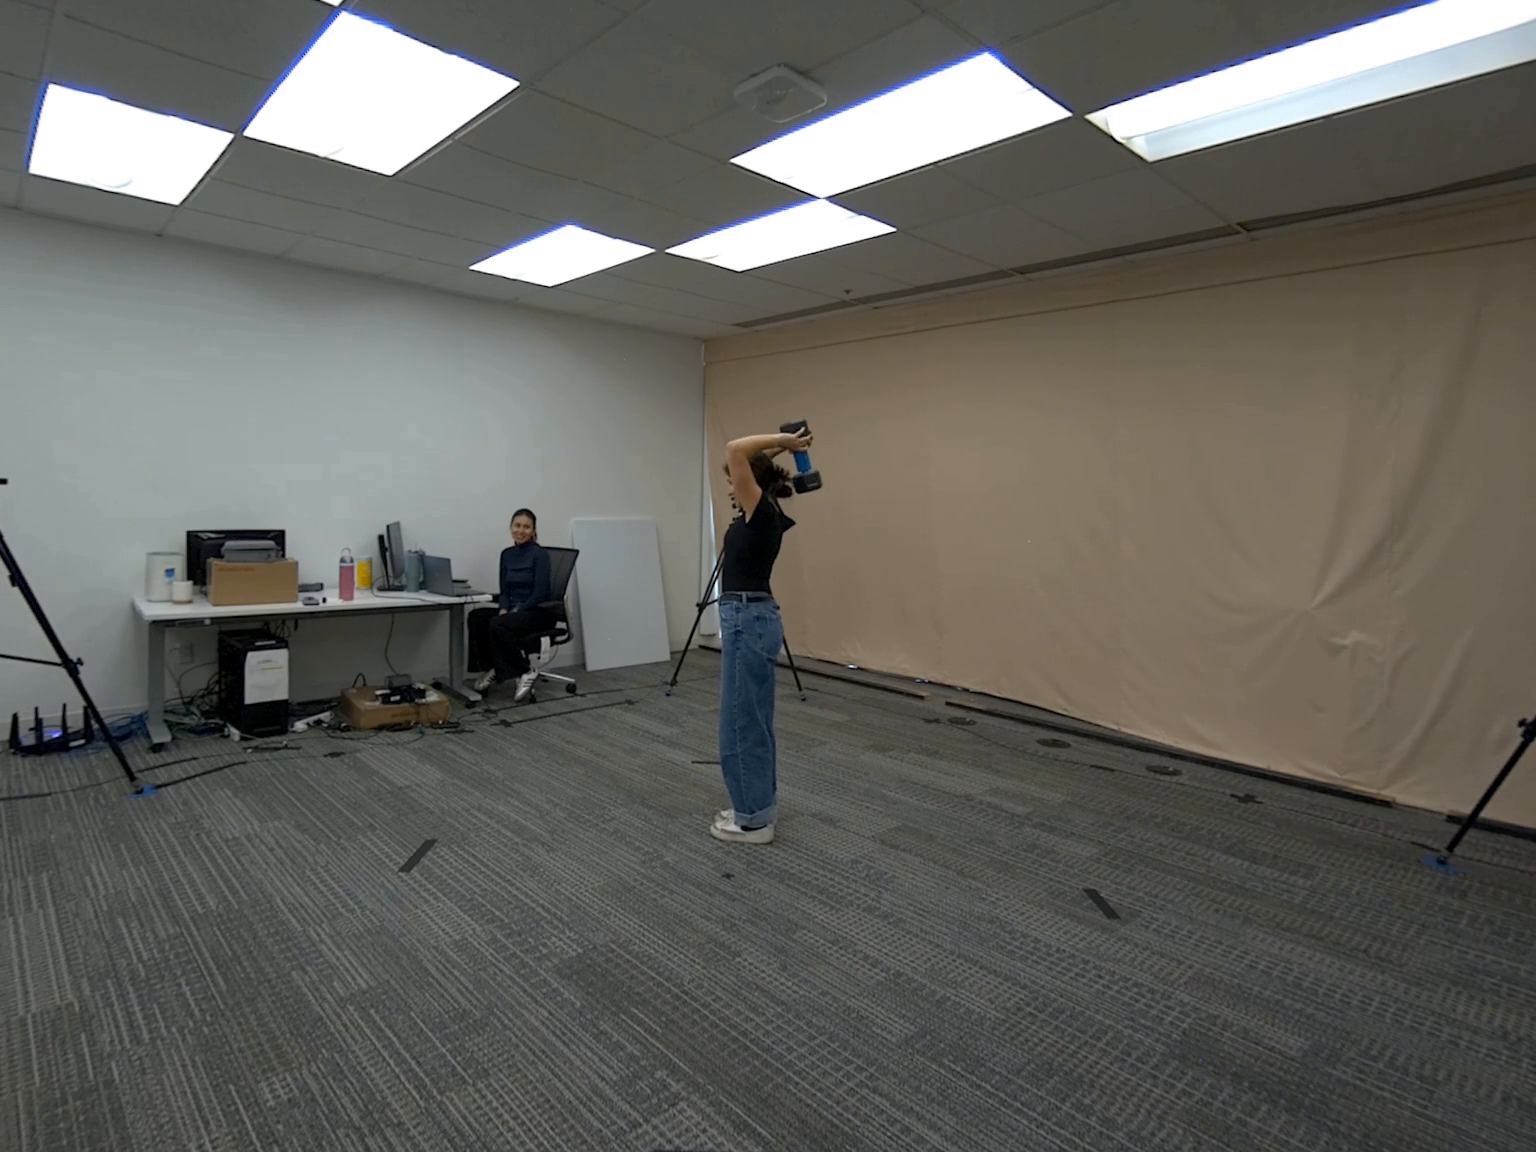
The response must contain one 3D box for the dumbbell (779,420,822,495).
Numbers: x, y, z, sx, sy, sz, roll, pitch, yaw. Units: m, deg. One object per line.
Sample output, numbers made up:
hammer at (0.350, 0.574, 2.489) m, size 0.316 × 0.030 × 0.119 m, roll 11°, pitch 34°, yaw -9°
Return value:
dumbbell at (0.126, -0.489, 3.426) m, size 0.125 × 0.293 × 0.107 m, roll -13°, pitch 3°, yaw 45°
